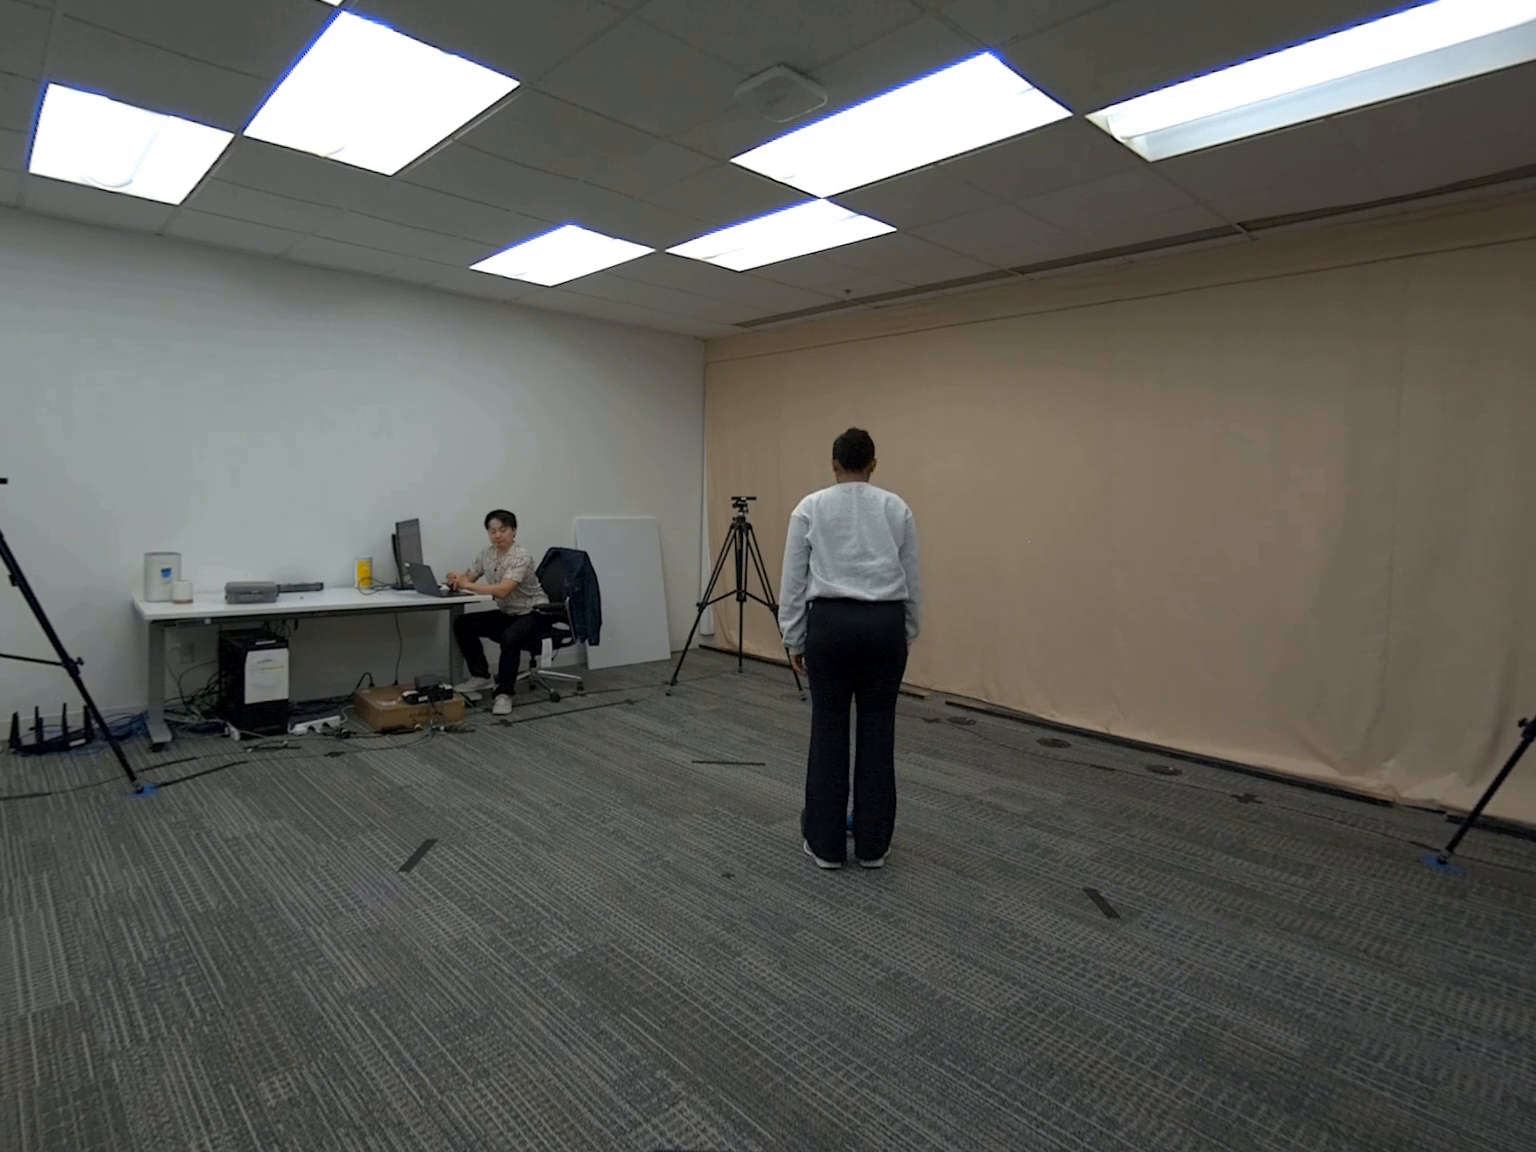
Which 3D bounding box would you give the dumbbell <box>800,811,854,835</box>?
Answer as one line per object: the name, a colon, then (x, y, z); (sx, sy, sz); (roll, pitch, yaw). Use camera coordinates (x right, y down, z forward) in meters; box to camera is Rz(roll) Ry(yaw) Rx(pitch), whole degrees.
dumbbell: (0.283, 1.037, 3.497); (0.292, 0.120, 0.111); (1, 36, -4)
